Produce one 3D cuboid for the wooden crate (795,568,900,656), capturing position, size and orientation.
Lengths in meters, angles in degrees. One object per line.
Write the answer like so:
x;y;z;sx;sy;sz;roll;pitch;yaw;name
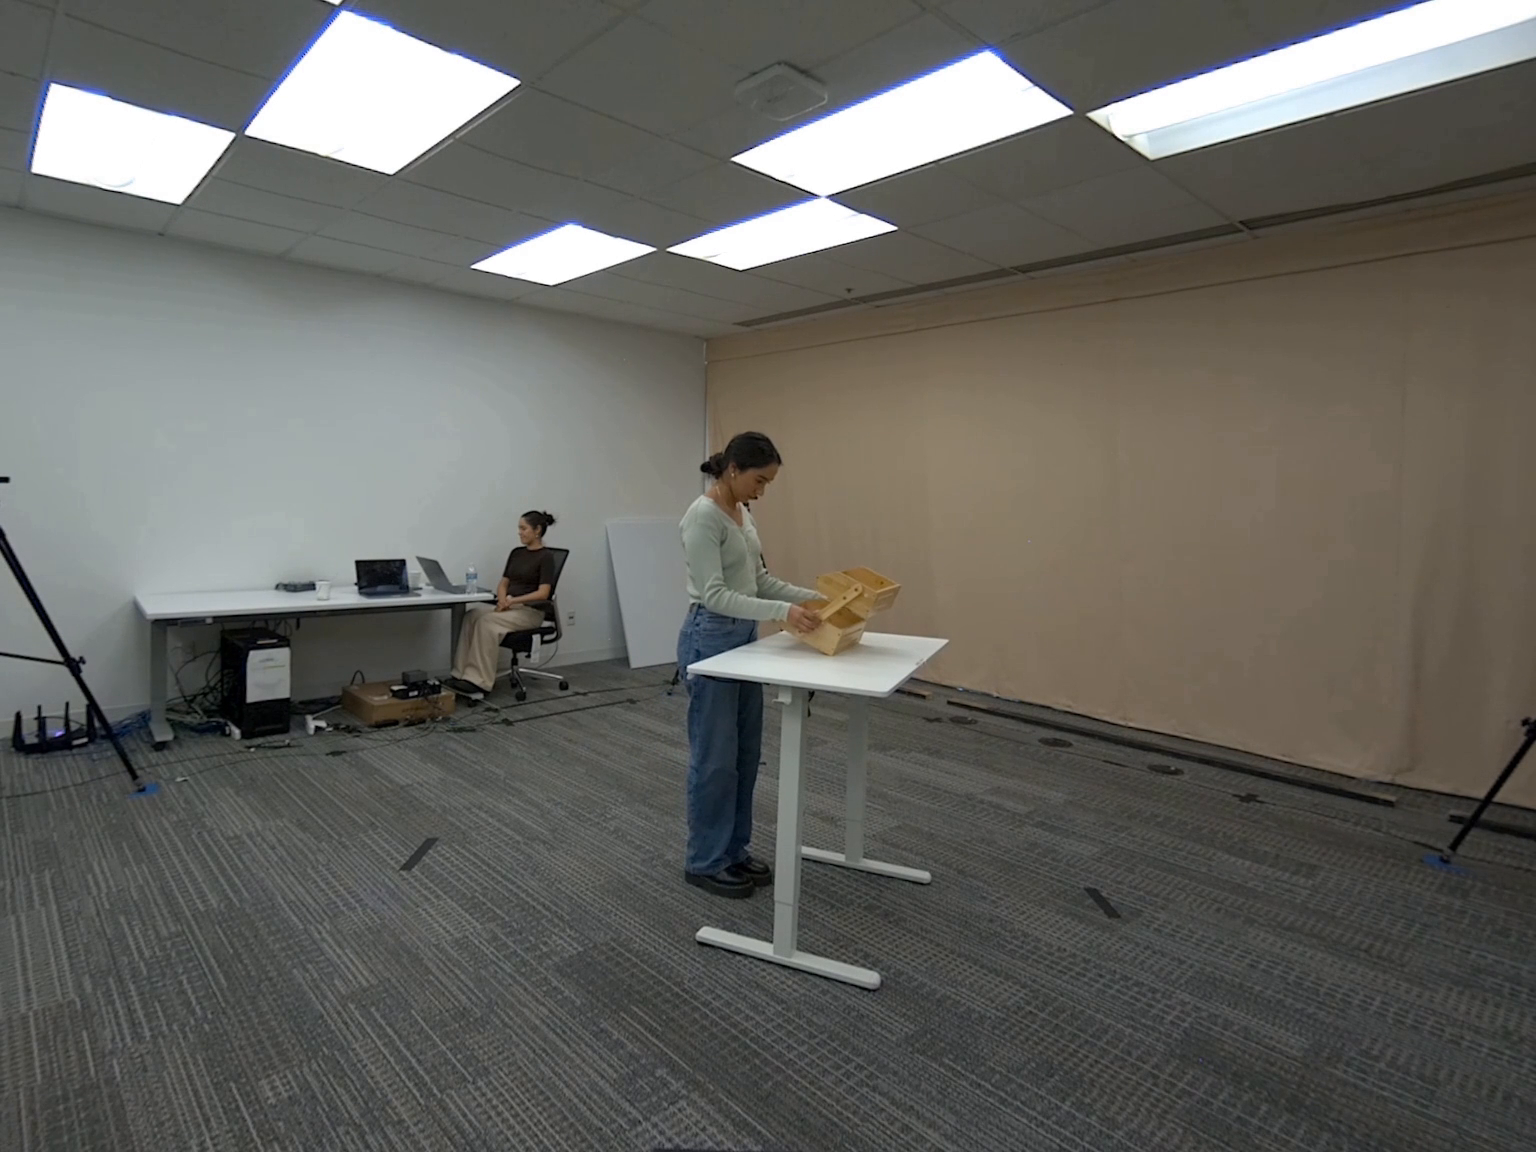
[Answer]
0.225;0.091;2.877;0.308;0.272;0.319;27;13;19;wooden crate
